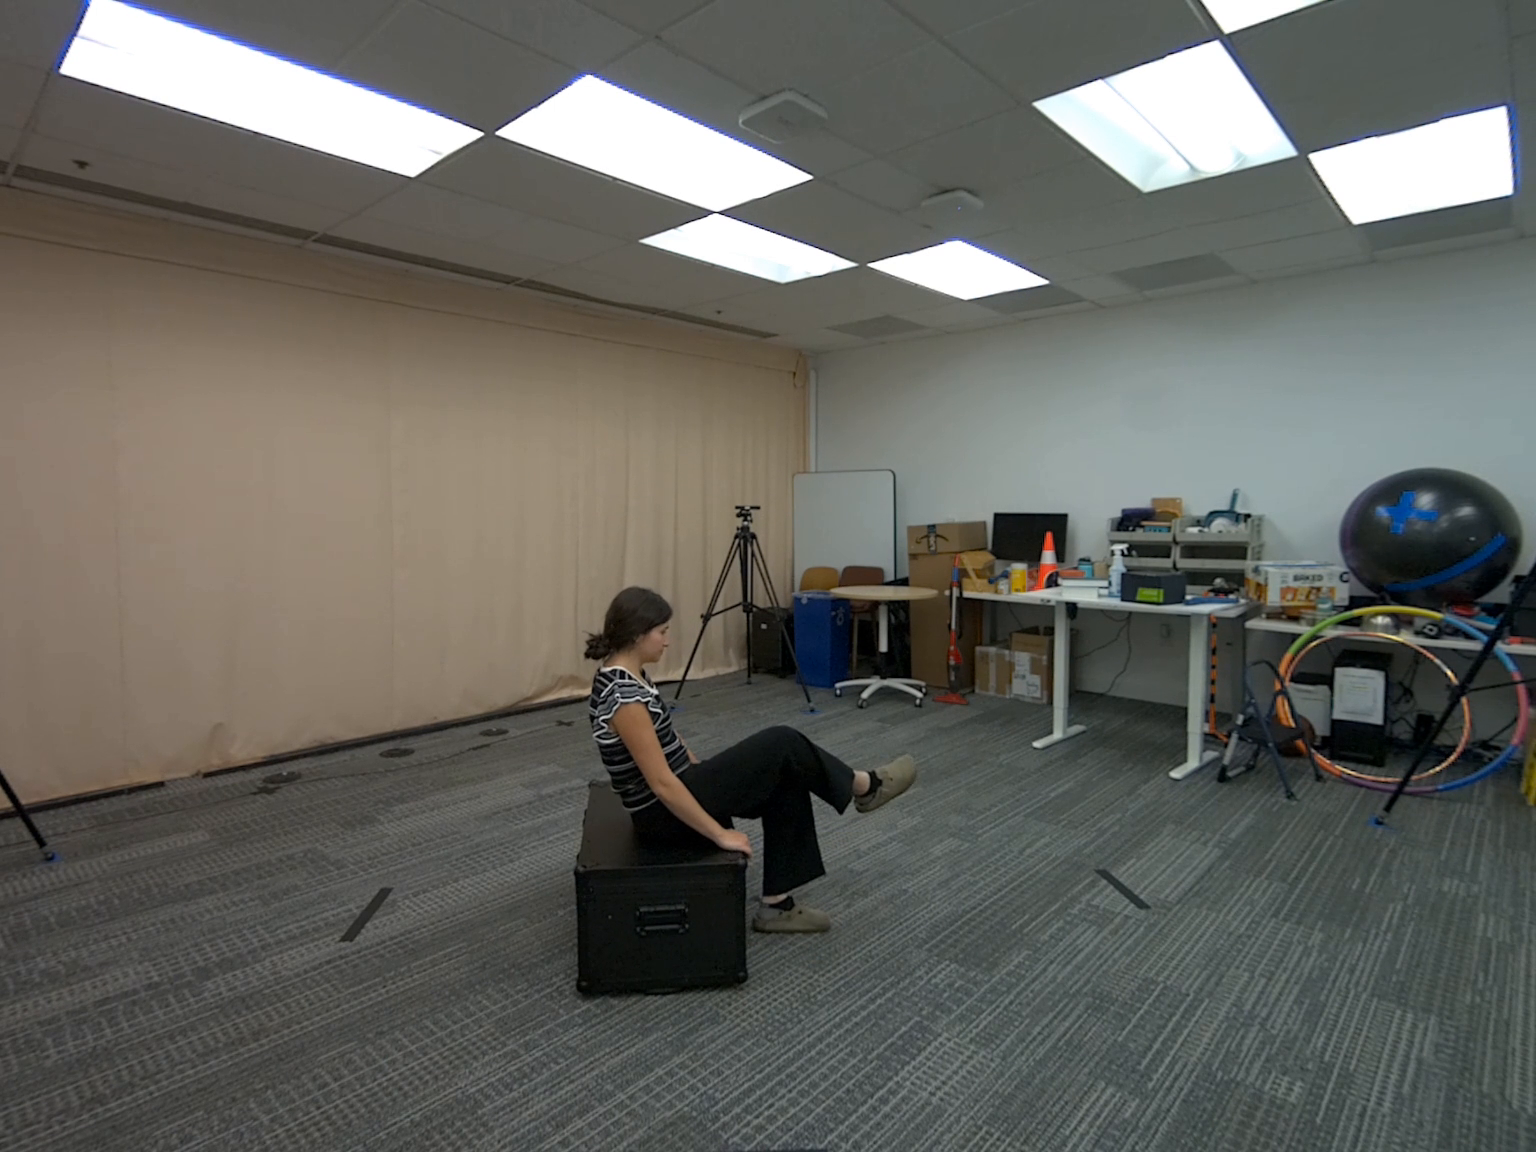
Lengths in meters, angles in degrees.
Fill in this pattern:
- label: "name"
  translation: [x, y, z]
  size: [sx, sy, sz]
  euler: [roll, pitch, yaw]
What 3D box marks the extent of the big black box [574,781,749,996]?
- label: "big black box"
  translation: [-0.359, 0.967, 2.803]
  size: [0.517, 0.395, 0.871]
  euler: [-1, 5, -9]
